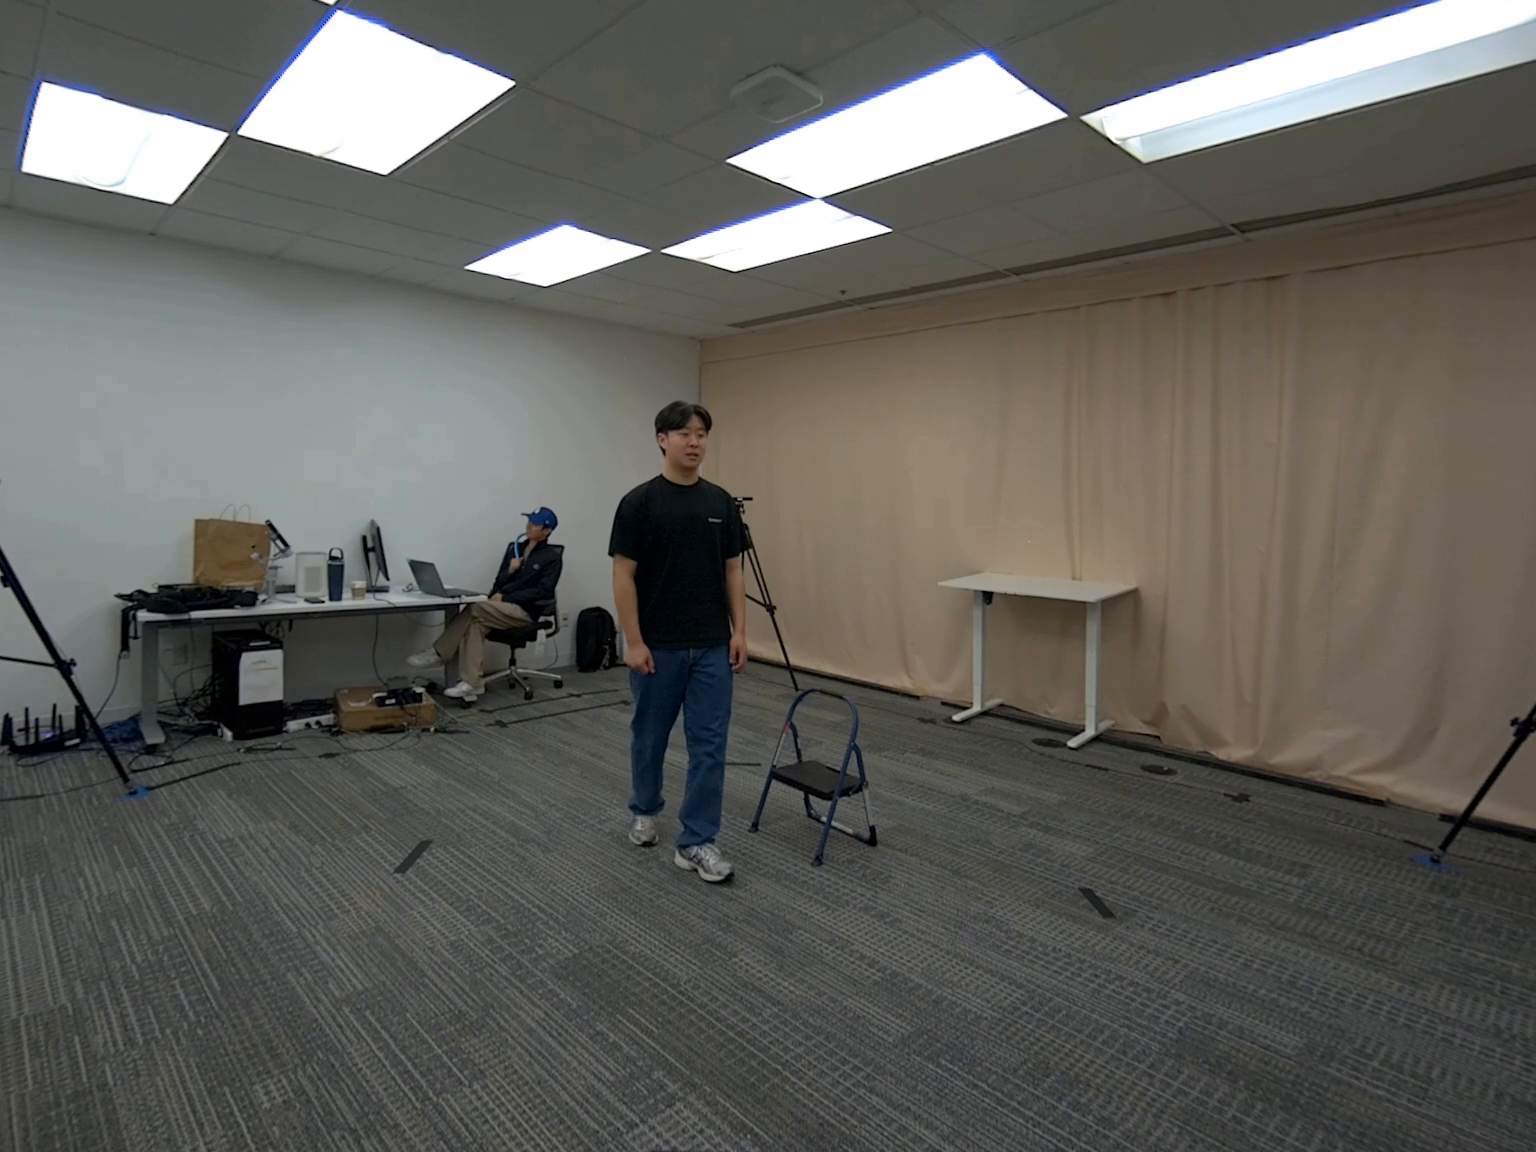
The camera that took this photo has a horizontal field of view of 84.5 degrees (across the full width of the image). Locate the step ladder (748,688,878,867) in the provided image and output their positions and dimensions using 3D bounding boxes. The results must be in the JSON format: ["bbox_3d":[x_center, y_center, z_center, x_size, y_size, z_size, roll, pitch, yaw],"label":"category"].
[{"bbox_3d":[0.185,0.782,3.461,0.341,0.605,0.441,-1,4,-38],"label":"step ladder"}]
